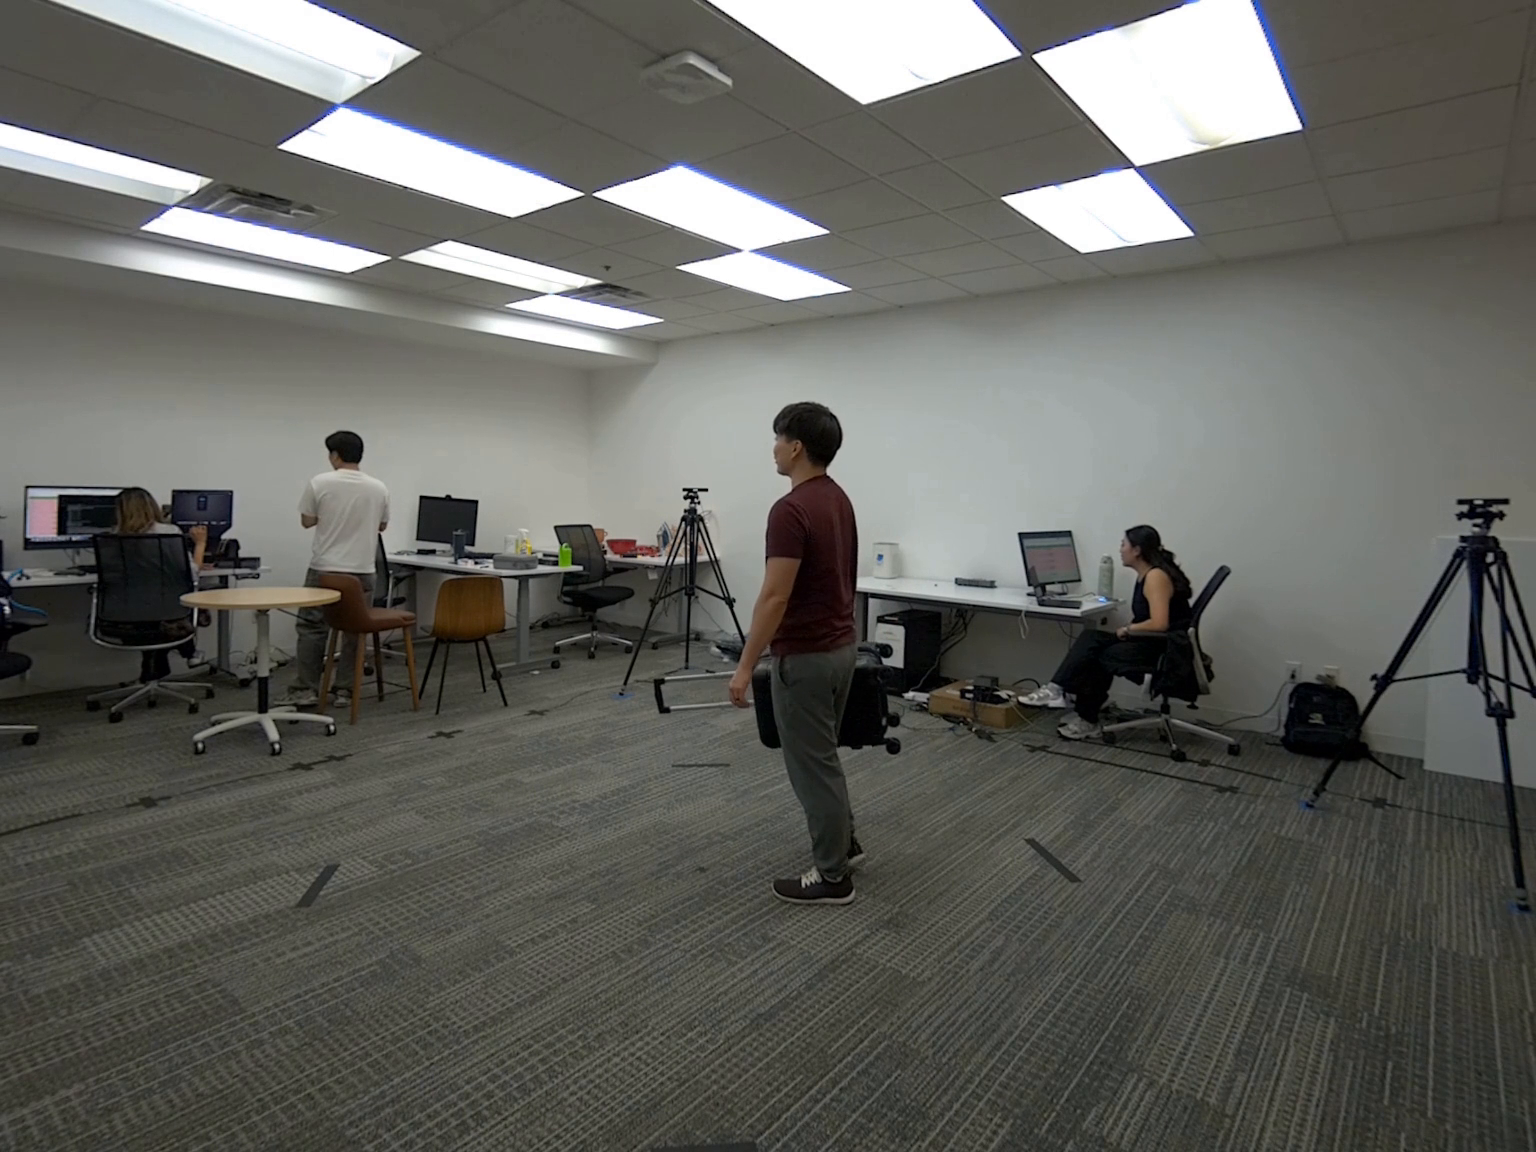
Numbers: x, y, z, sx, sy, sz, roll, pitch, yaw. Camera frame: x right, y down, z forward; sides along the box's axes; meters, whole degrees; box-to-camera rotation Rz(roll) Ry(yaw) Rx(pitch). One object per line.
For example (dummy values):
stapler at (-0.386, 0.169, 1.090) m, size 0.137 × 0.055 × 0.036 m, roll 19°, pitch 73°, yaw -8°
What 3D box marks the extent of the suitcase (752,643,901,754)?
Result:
suitcase at (0.003, 0.476, 3.335) m, size 0.988 × 0.378 × 0.258 m, roll -5°, pitch 14°, yaw 10°
